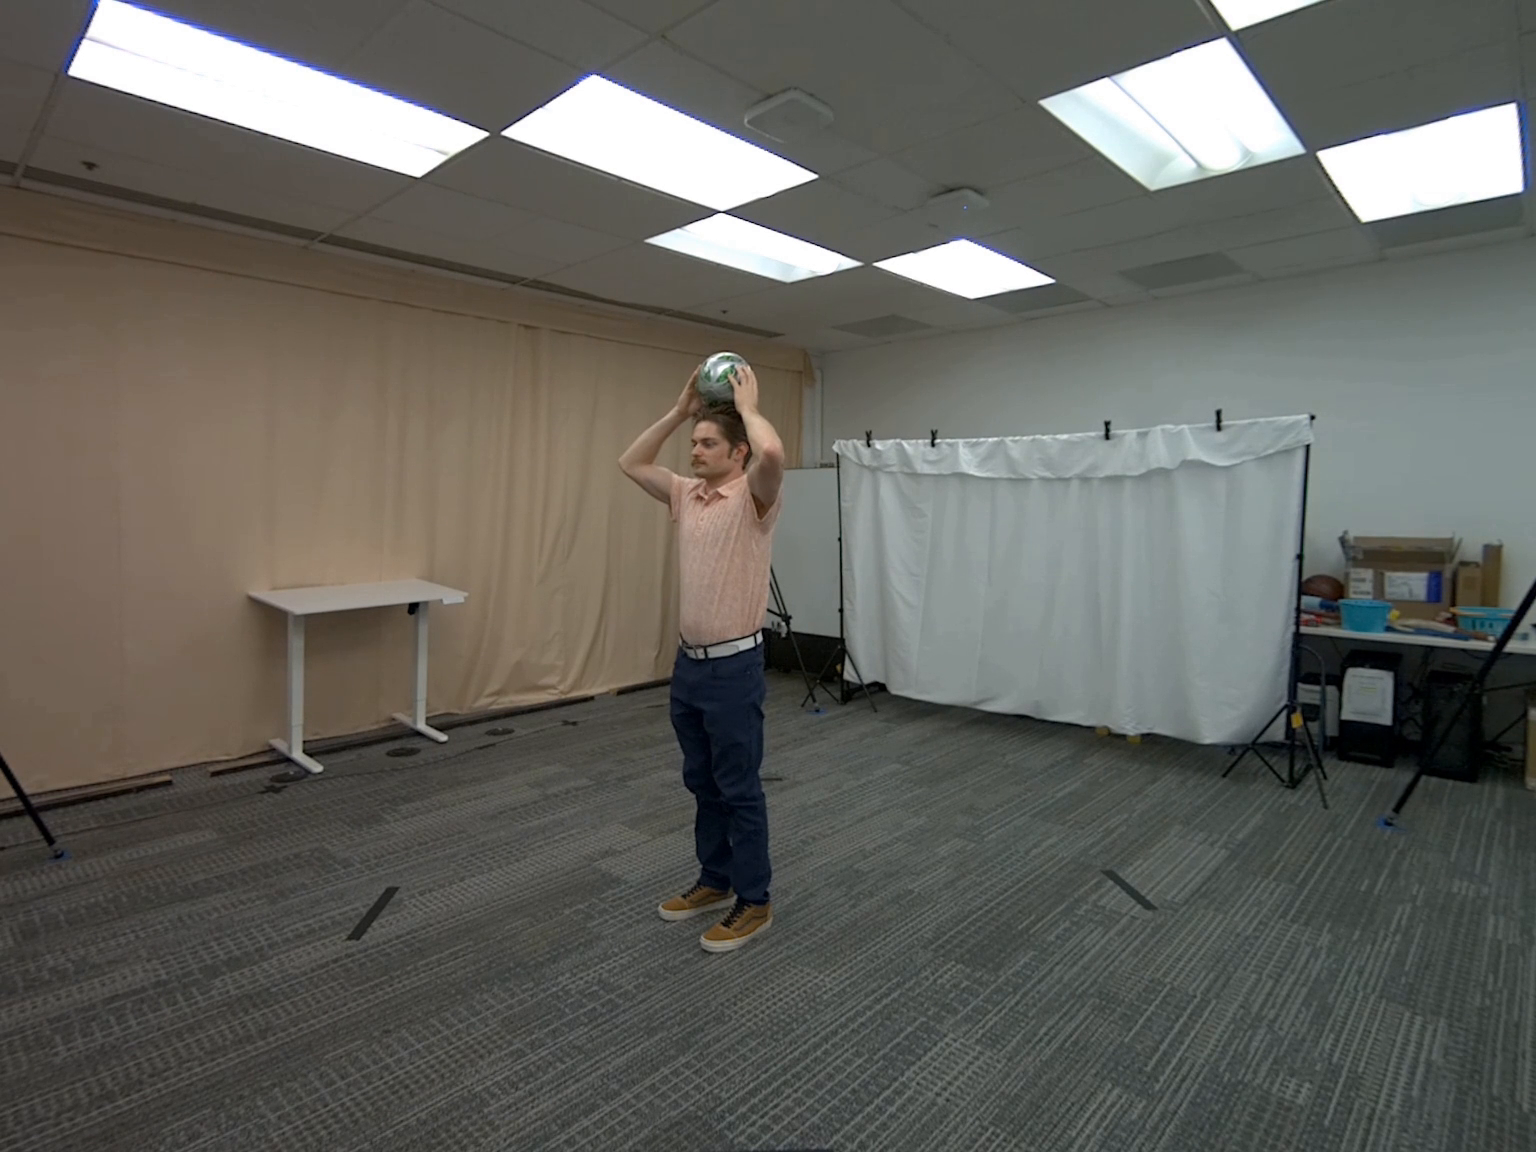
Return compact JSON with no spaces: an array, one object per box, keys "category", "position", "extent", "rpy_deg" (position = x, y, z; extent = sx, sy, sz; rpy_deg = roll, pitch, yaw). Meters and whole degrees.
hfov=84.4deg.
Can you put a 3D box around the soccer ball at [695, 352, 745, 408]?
[{"category":"soccer ball","position":[-0.131,-0.626,2.753],"extent":[0.187,0.187,0.188],"rpy_deg":[0,4,-2]}]
